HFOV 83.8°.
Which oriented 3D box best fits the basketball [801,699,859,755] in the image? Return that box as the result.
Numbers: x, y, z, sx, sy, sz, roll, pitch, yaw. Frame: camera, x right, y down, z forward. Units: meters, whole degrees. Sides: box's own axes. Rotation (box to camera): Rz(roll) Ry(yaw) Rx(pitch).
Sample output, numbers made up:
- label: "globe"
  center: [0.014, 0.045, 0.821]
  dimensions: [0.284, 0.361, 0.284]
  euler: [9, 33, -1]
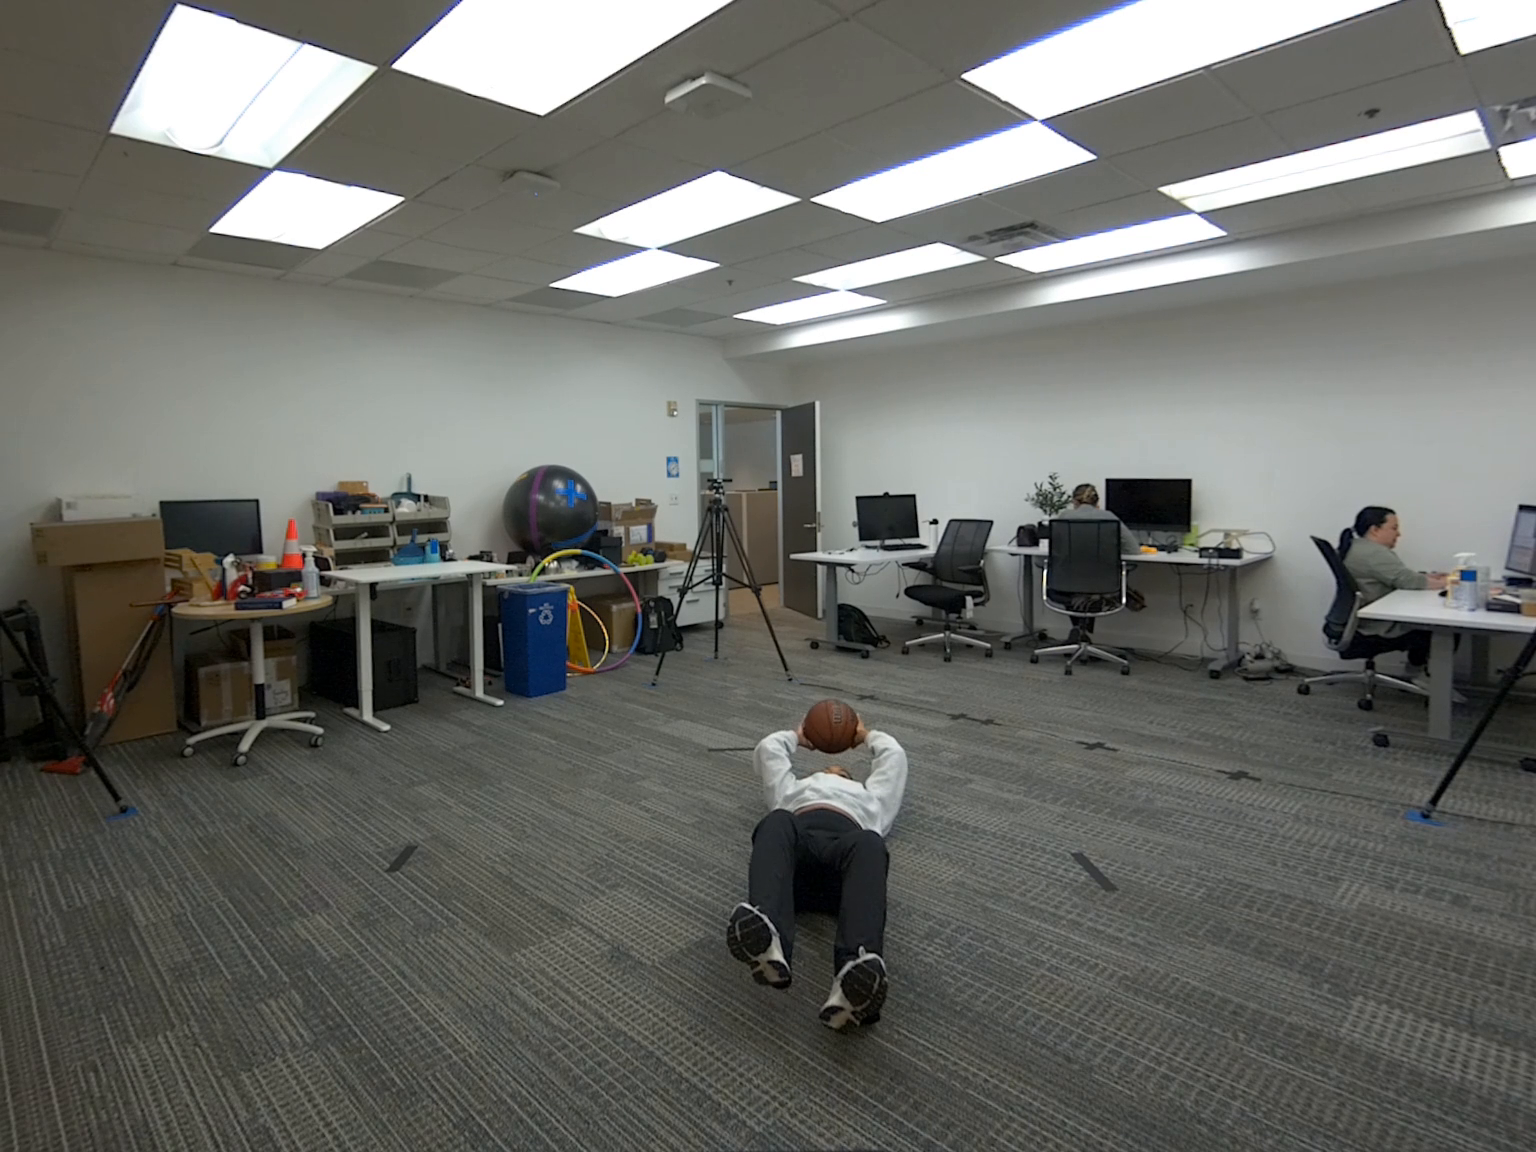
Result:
- label: "basketball"
  center: [0.284, 0.655, 3.756]
  dimensions: [0.236, 0.235, 0.237]
  euler: [-1, 4, -2]
